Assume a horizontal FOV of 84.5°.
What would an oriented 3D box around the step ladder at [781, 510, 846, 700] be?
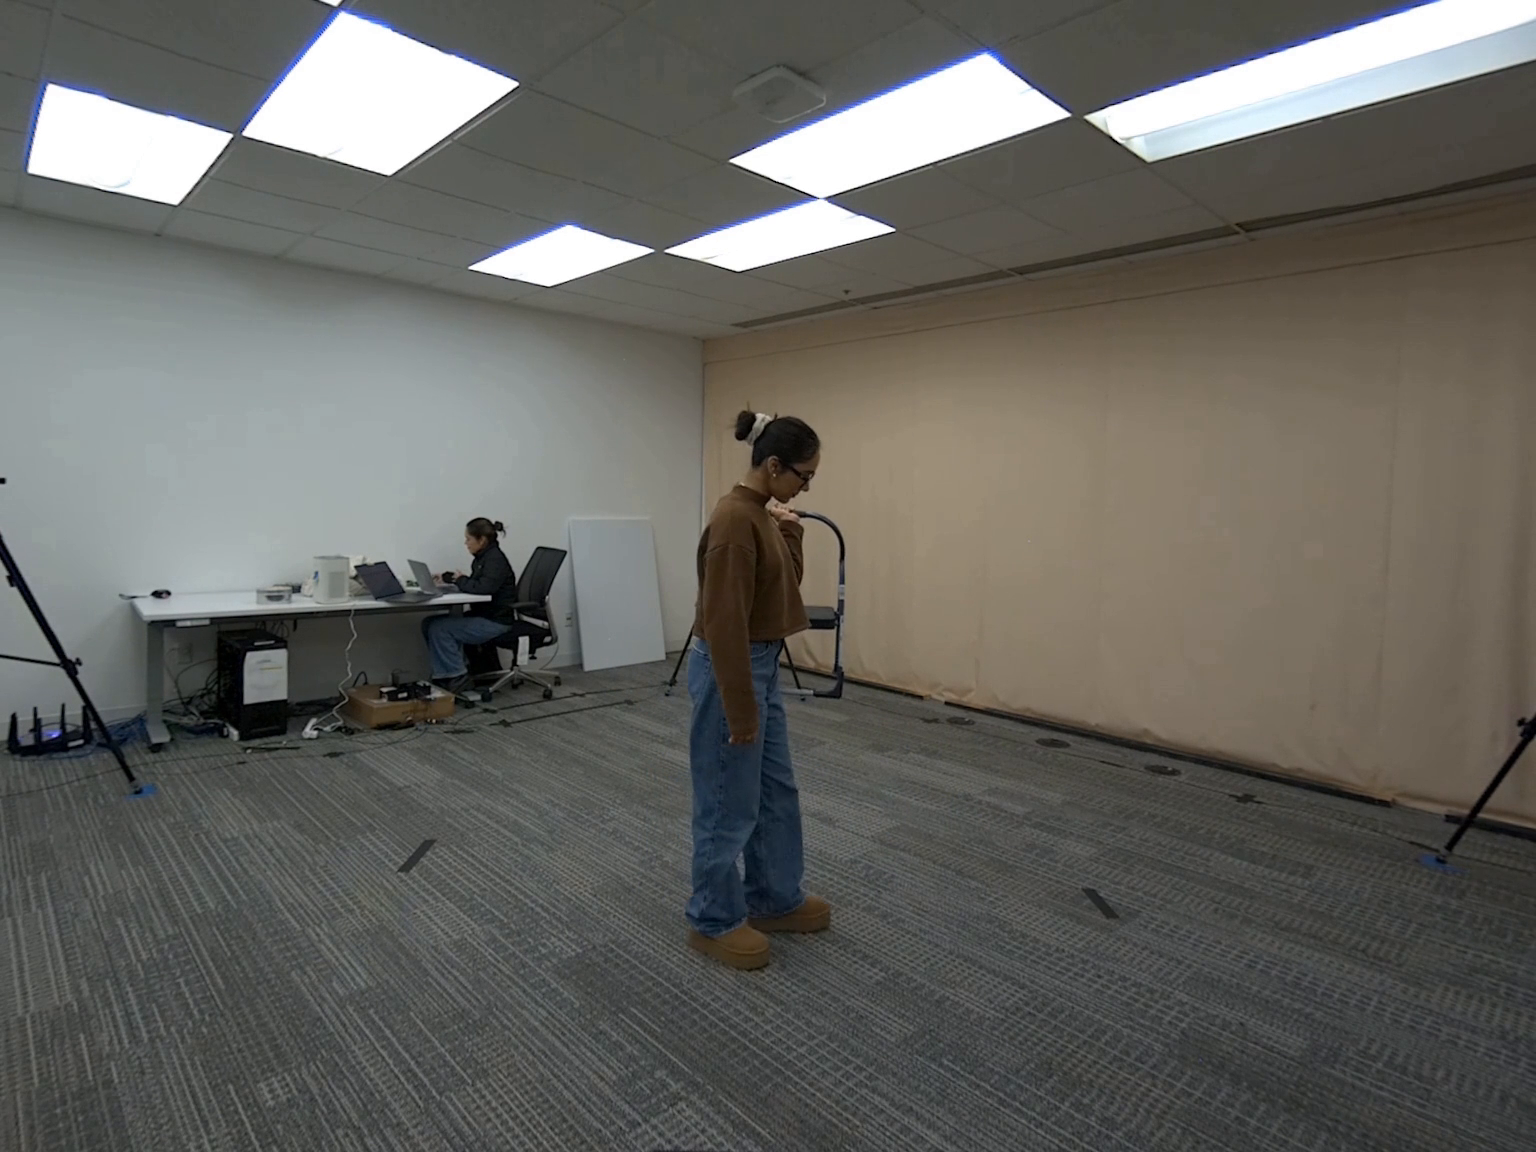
[{"bbox_3d":[0.060,0.078,2.895,0.432,0.603,0.350,3,8,3],"label":"step ladder"}]
